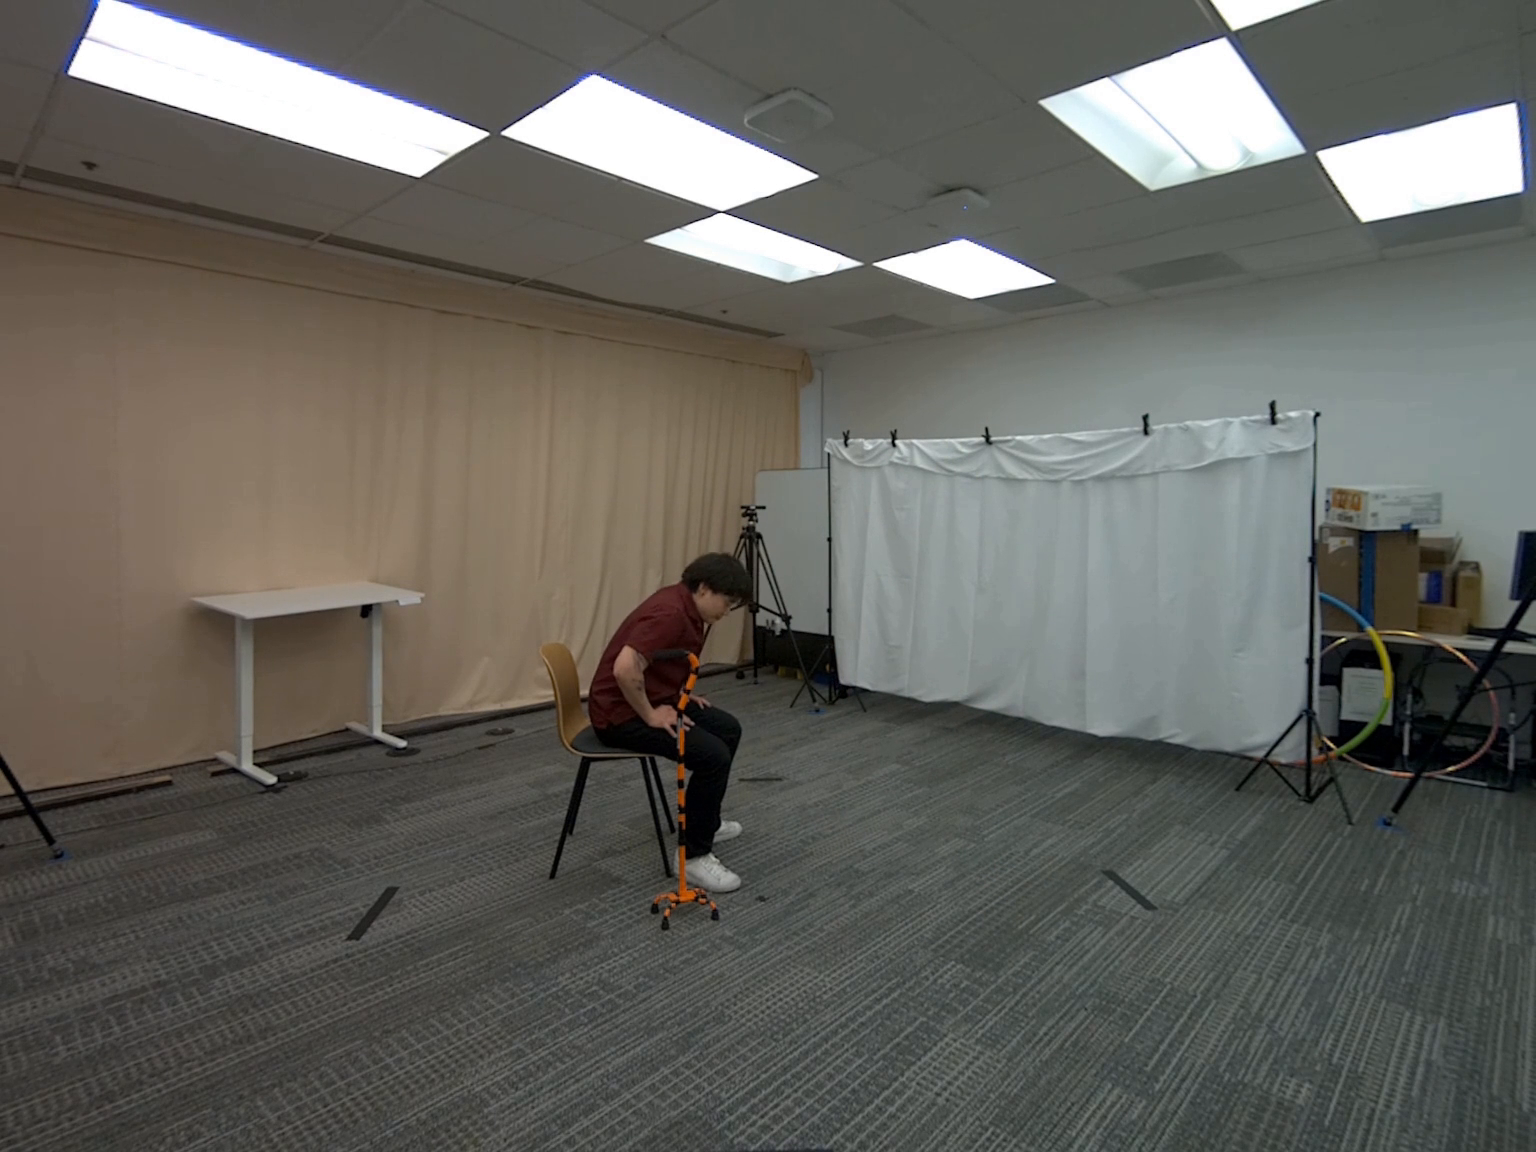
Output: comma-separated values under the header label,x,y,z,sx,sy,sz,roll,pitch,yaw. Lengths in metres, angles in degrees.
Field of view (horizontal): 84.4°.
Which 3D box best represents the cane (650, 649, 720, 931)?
label,x,y,z,sx,sy,sz,roll,pitch,yaw
cane,-0.288,0.697,2.846,0.202,0.907,0.155,-2,2,-23
